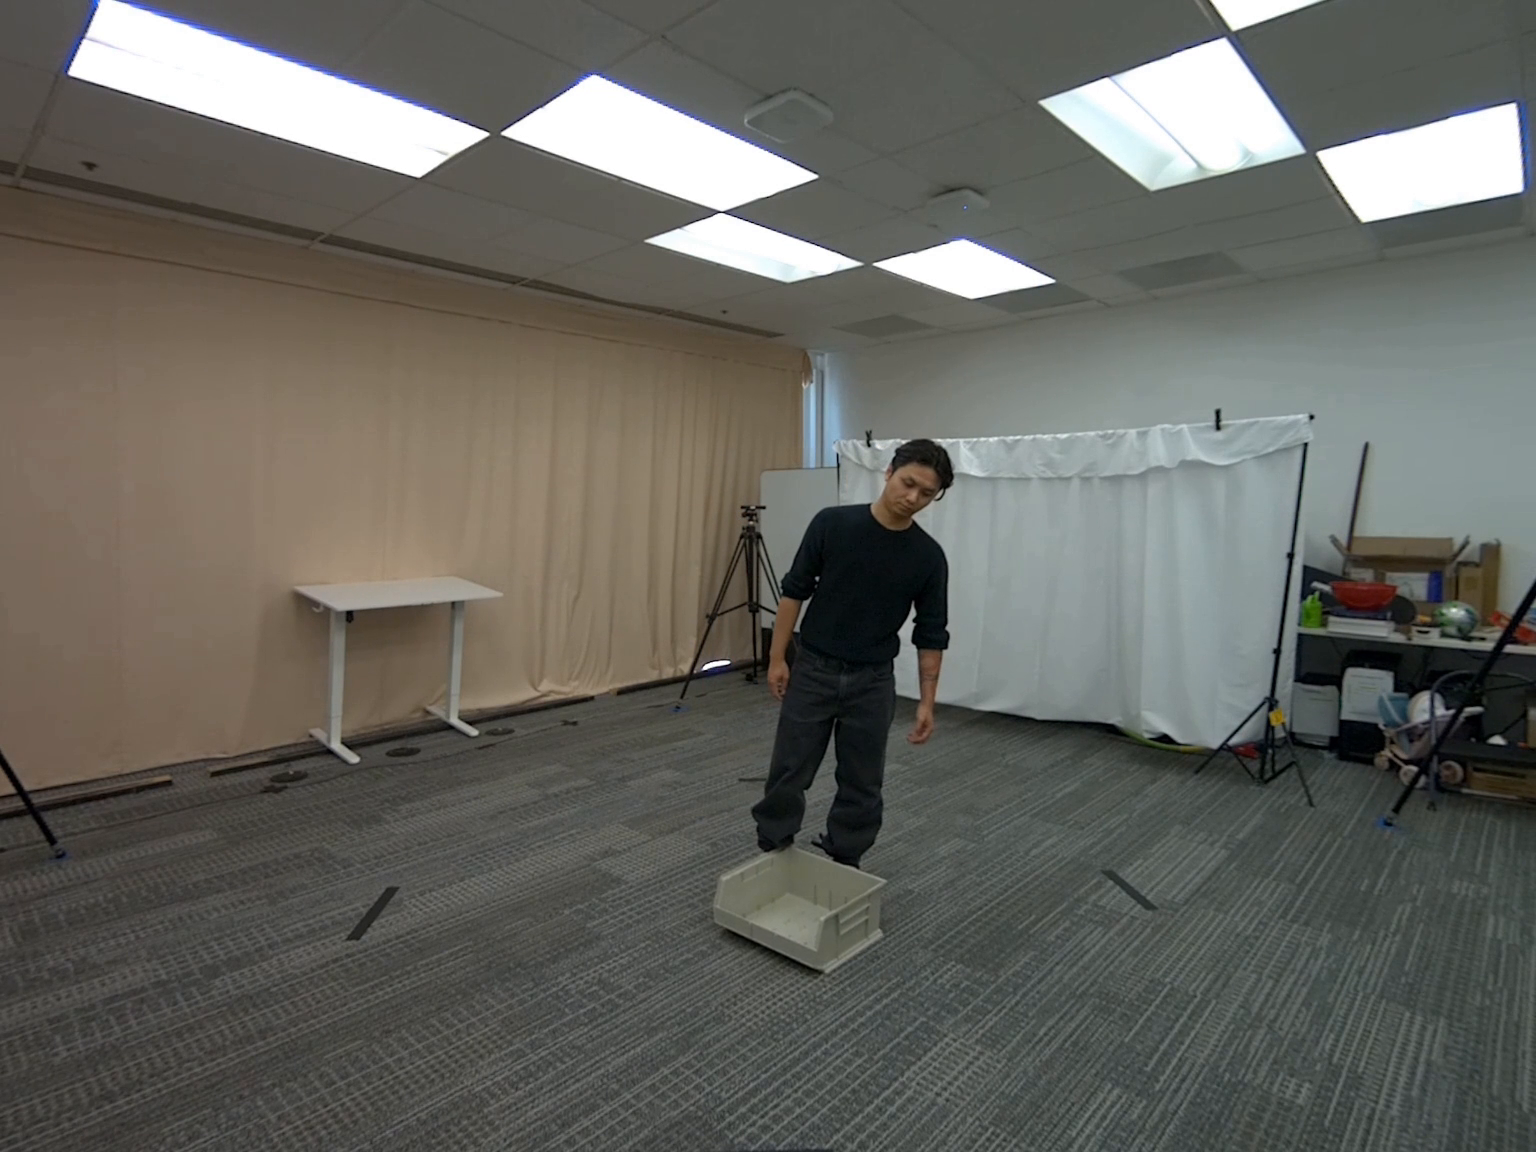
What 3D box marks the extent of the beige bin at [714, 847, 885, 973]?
[{"bbox_3d":[0.107,1.076,2.731,0.436,0.189,0.366,3,4,41],"label":"beige bin"}]
